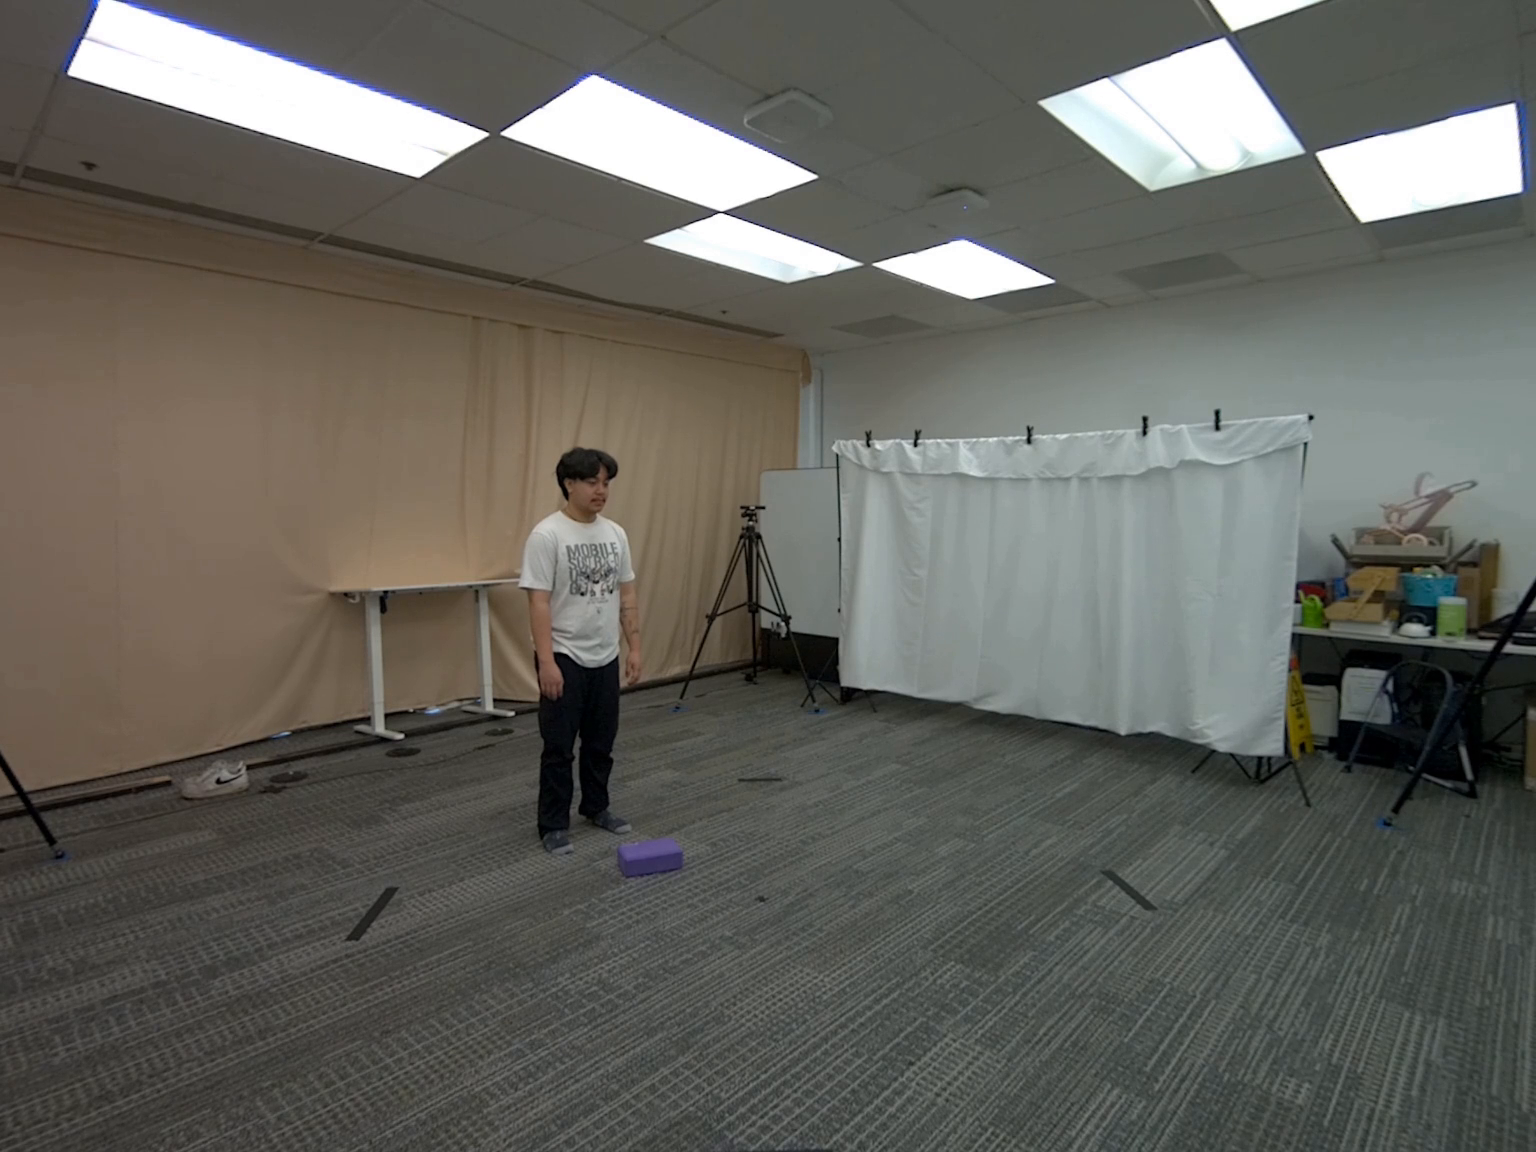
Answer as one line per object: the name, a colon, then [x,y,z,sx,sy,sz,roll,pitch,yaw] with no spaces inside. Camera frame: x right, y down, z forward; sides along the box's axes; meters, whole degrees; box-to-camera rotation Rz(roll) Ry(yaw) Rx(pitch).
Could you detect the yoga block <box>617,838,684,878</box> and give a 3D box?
yoga block: [-0.457,1.083,3.254,0.225,0.076,0.152,-3,6,-20]
